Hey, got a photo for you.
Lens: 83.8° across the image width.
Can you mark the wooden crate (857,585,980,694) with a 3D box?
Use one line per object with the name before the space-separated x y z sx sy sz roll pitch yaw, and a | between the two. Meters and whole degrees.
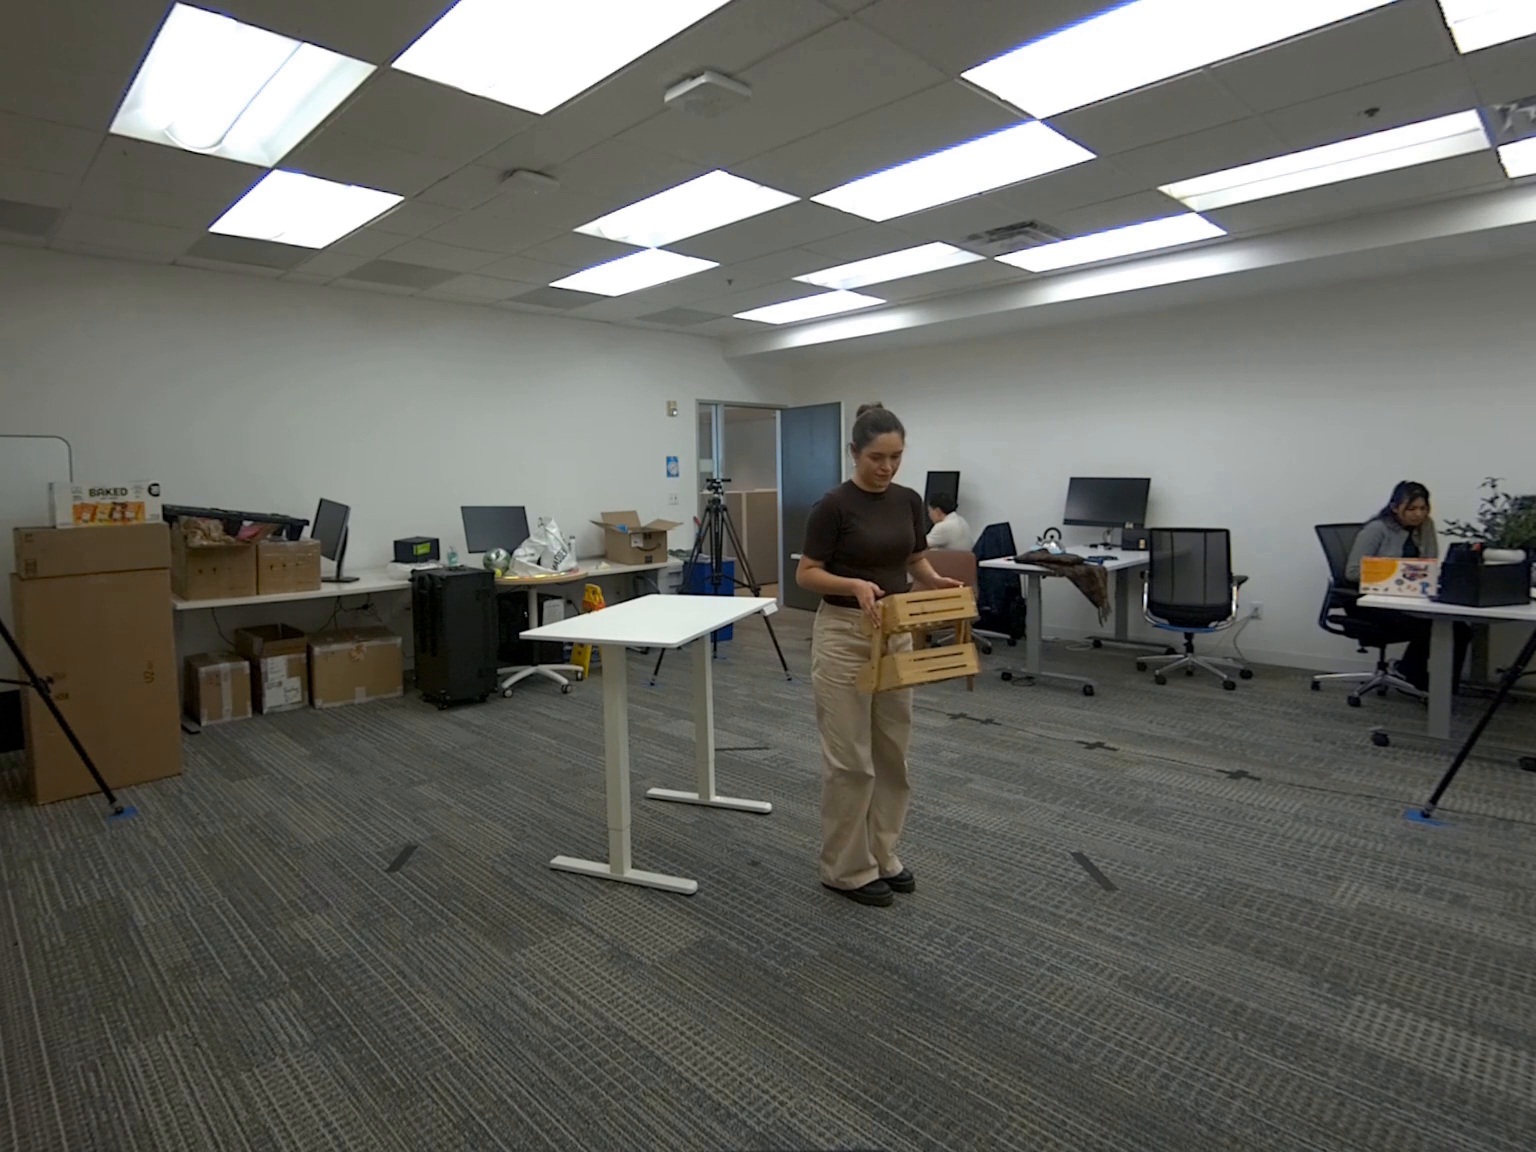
wooden crate | 0.459 0.204 2.678 0.318 0.277 0.304 -5 -13 -25
